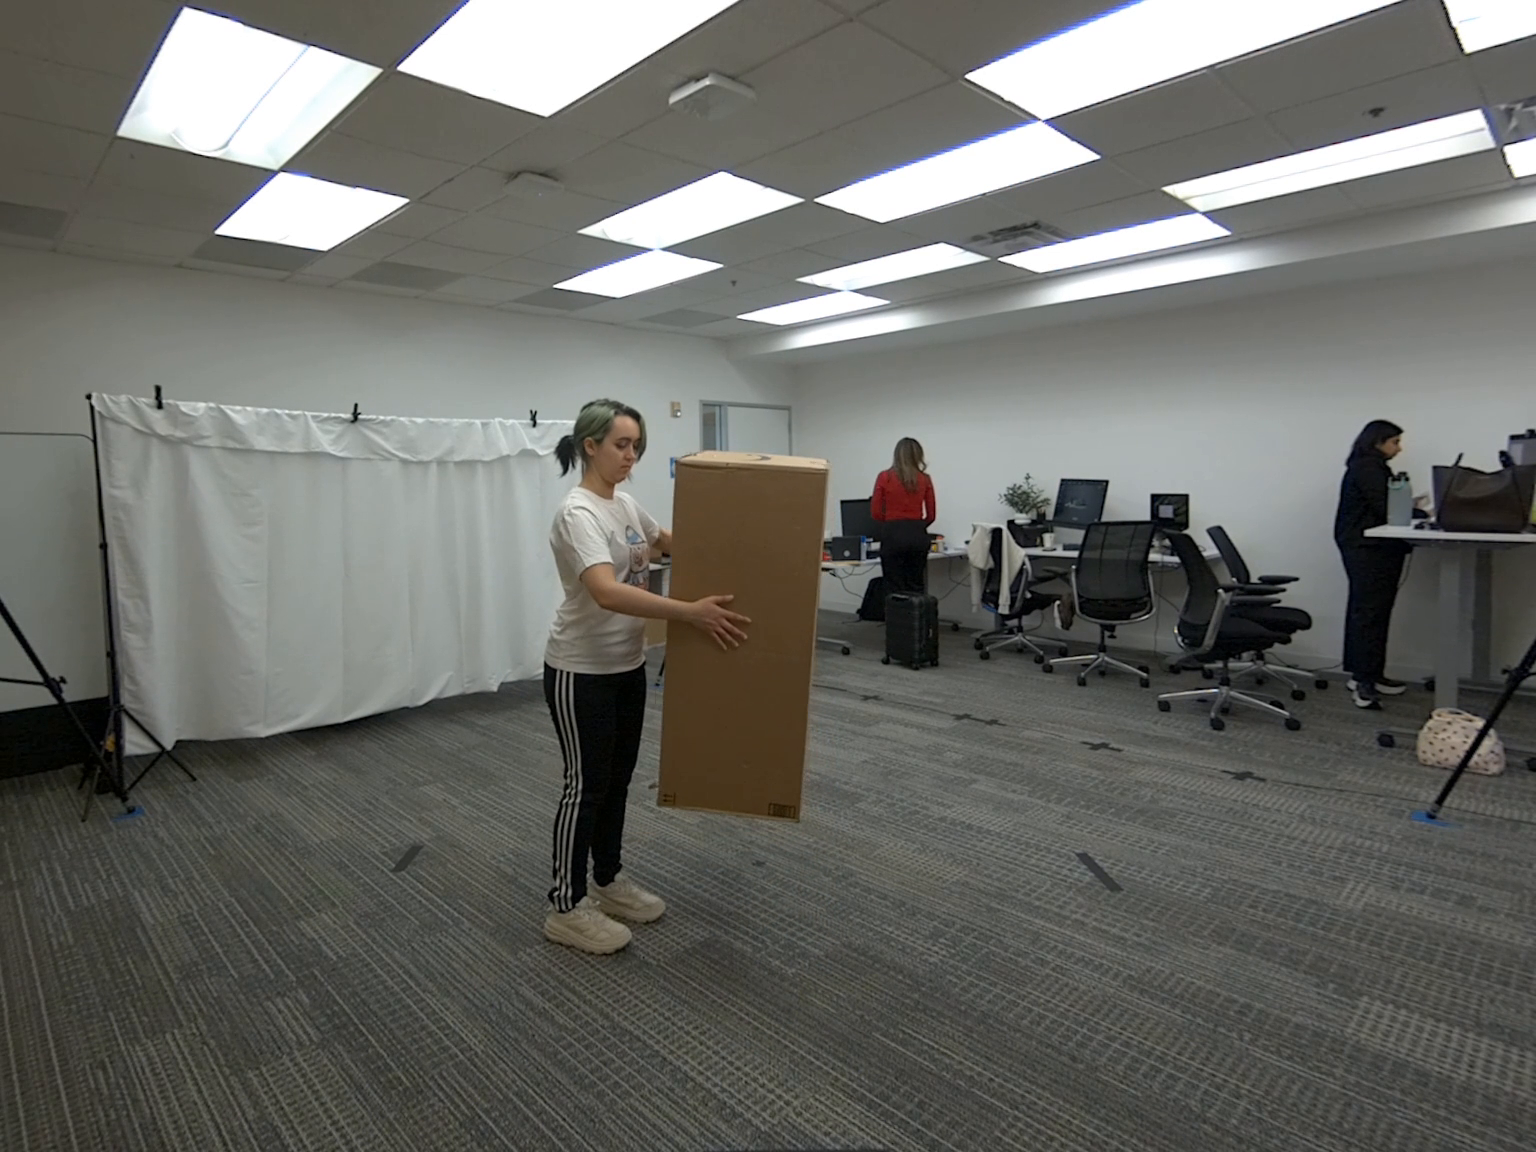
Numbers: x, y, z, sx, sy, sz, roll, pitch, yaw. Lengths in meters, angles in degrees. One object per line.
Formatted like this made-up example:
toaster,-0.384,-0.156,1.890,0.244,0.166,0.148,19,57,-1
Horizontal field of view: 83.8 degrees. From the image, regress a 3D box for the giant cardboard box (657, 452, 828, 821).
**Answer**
giant cardboard box,-0.063,0.142,2.675,0.429,1.018,0.578,5,9,5
